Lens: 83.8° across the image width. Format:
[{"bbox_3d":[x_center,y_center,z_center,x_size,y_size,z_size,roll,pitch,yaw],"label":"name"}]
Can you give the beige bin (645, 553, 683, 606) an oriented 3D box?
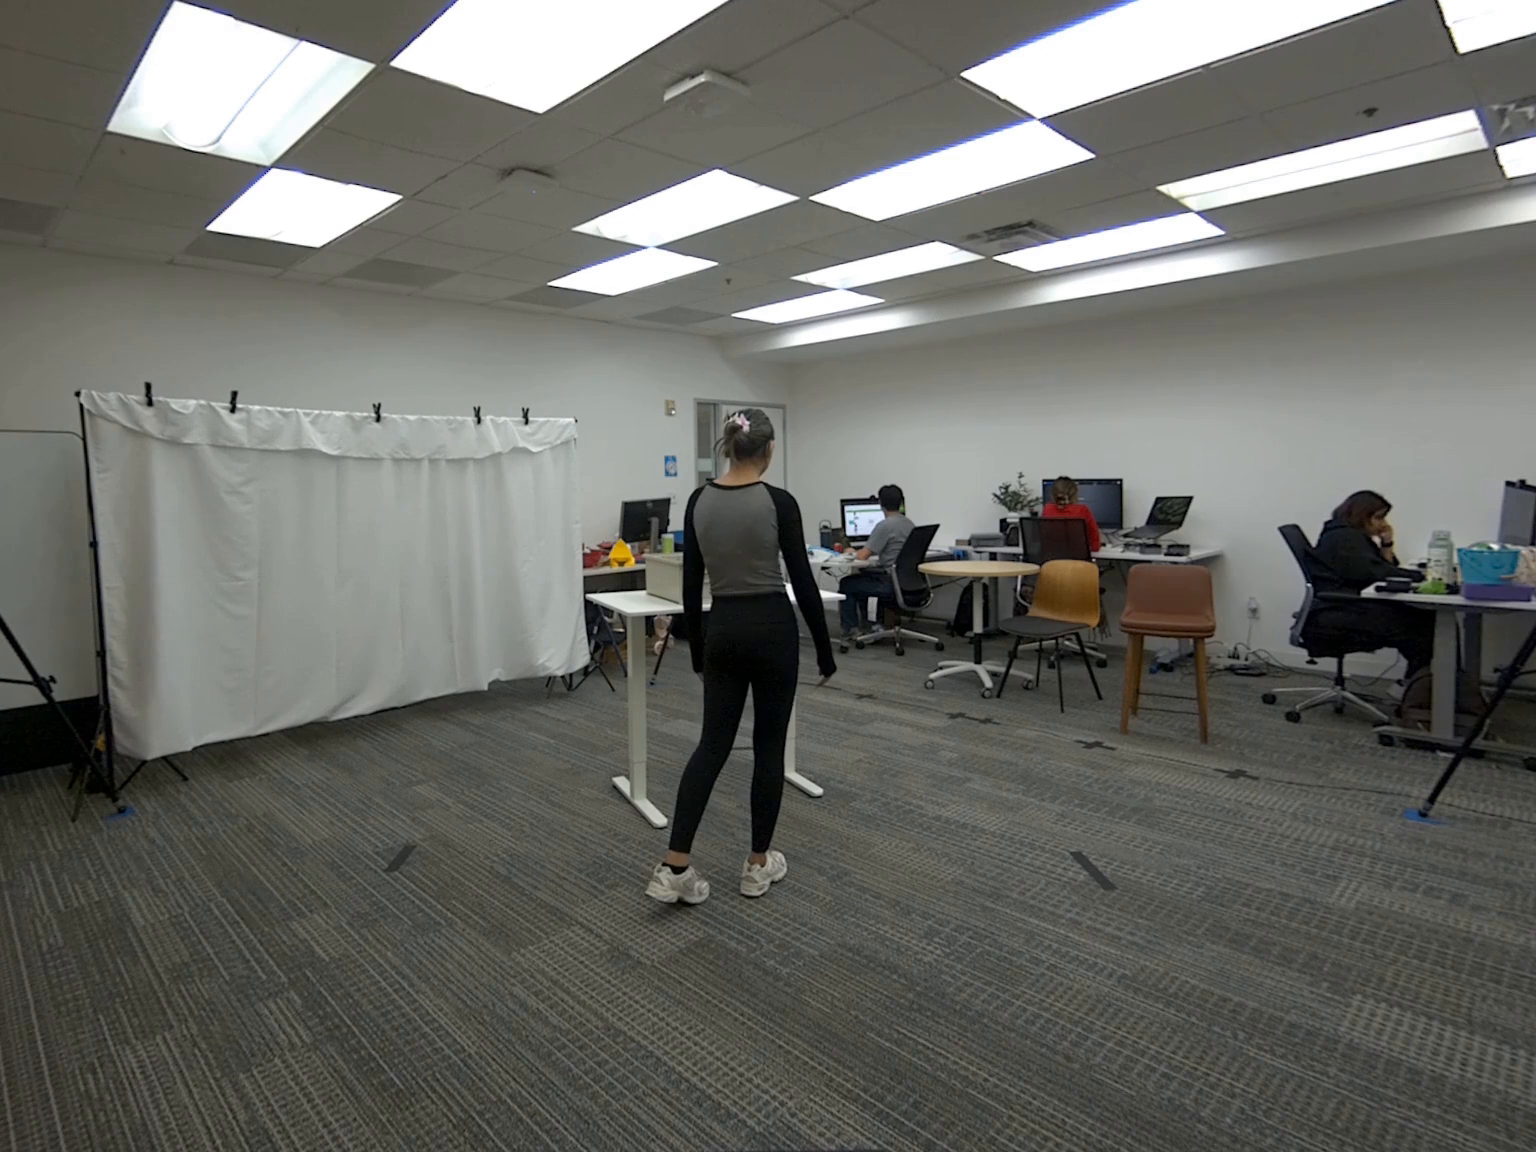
[{"bbox_3d":[-0.292,0.007,3.744,0.369,0.188,0.434,-5,8,-30],"label":"beige bin"}]
